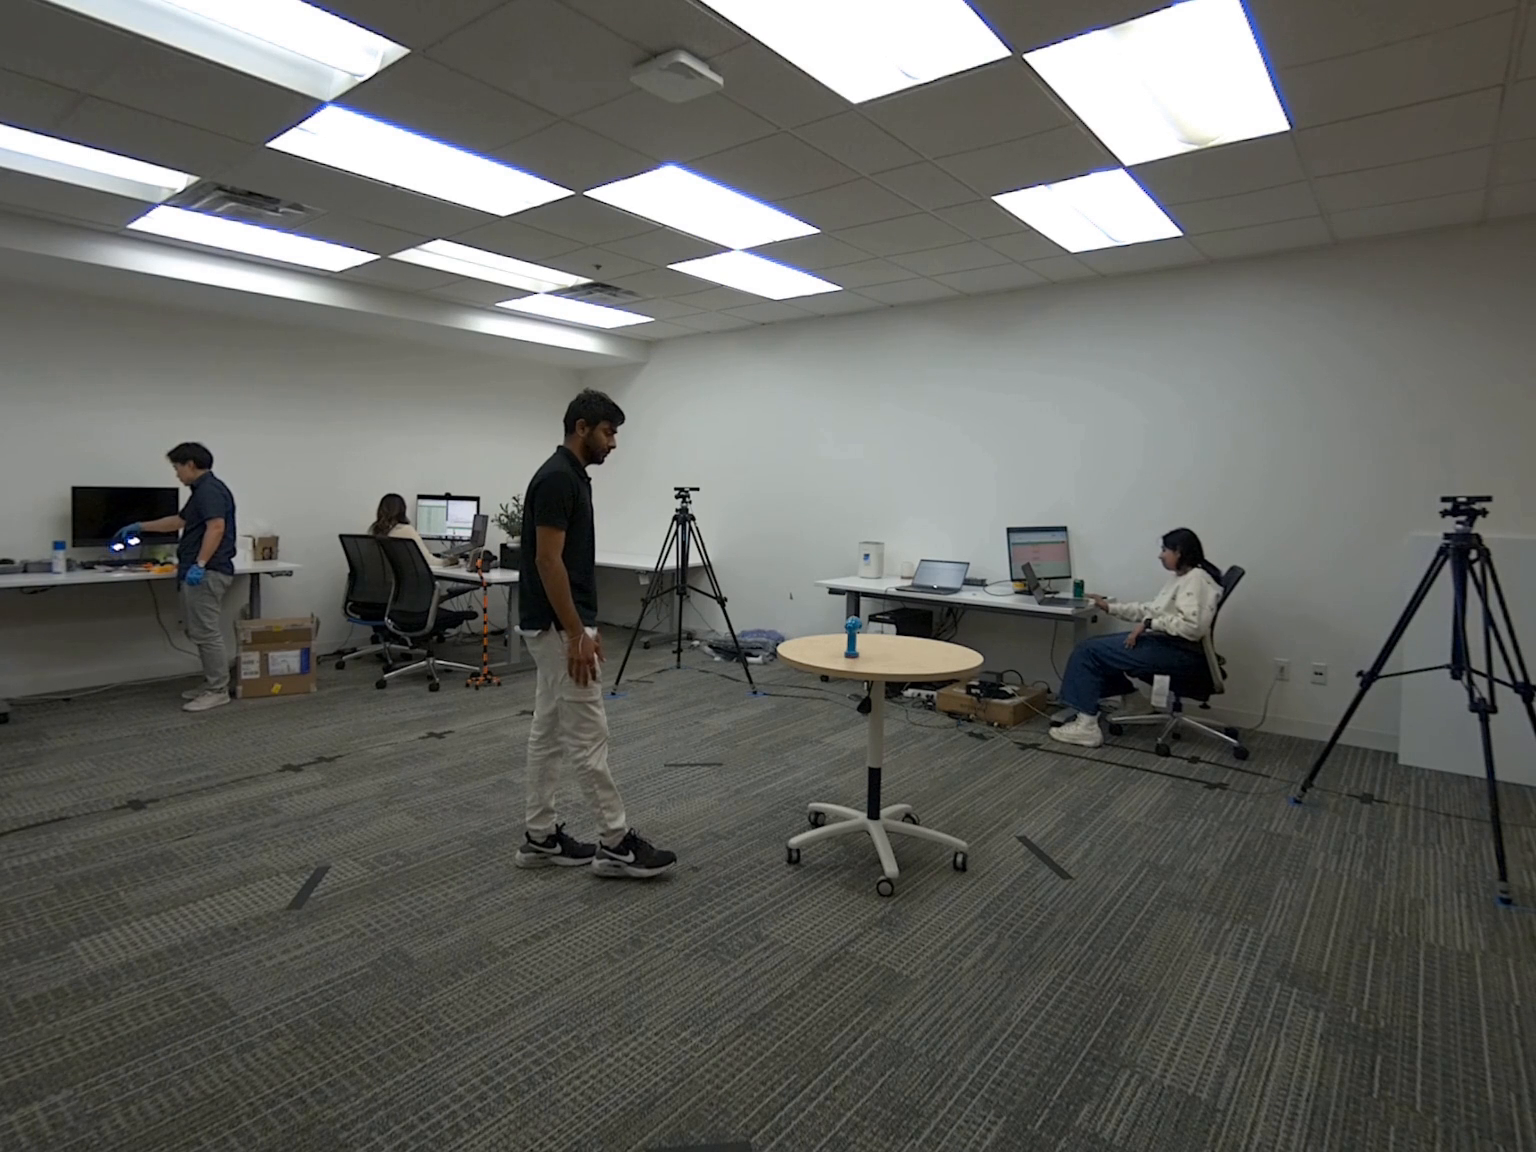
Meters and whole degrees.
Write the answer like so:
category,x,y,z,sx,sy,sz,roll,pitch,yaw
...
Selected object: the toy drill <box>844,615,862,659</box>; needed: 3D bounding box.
category,x,y,z,sx,sy,sz,roll,pitch,yaw
toy drill,0.313,0.220,3.151,0.062,0.145,0.168,2,5,14
